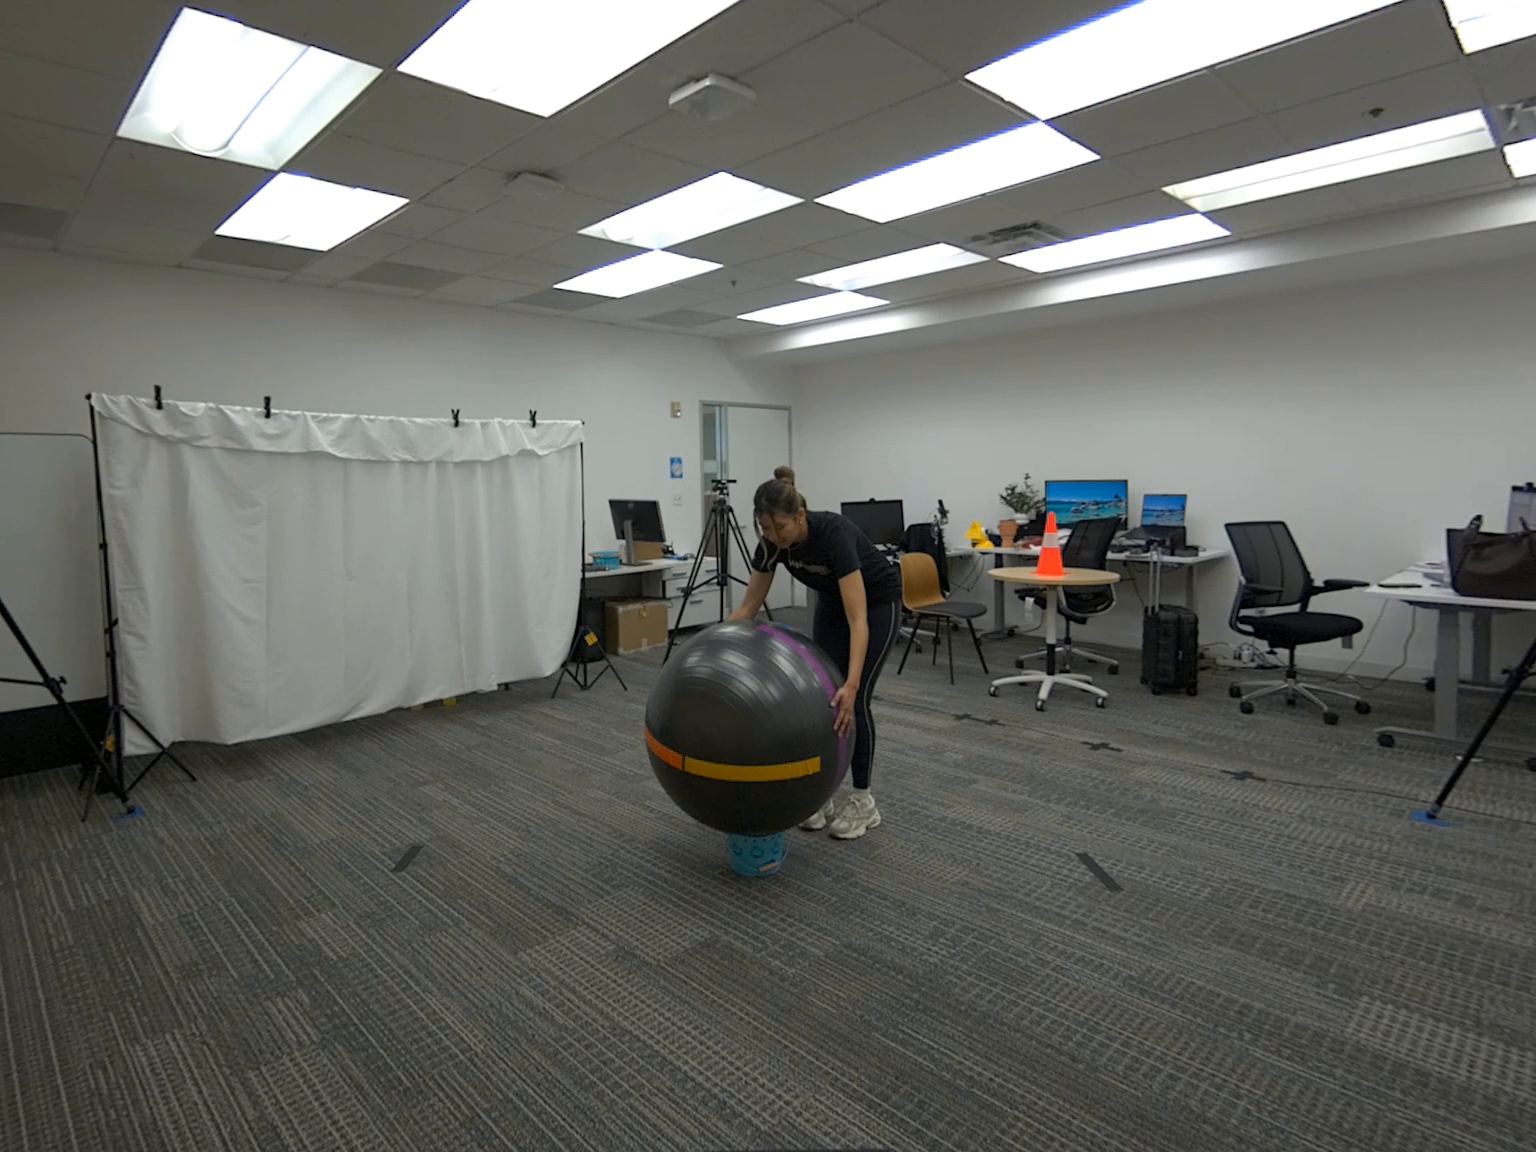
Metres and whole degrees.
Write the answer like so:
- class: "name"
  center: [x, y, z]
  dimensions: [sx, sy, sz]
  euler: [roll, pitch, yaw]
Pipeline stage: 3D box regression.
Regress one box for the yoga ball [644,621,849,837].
- class: "yoga ball"
  center: [-0.065, 0.540, 3.078]
  dimensions: [0.757, 0.755, 0.762]
  euler: [-1, 5, -2]
